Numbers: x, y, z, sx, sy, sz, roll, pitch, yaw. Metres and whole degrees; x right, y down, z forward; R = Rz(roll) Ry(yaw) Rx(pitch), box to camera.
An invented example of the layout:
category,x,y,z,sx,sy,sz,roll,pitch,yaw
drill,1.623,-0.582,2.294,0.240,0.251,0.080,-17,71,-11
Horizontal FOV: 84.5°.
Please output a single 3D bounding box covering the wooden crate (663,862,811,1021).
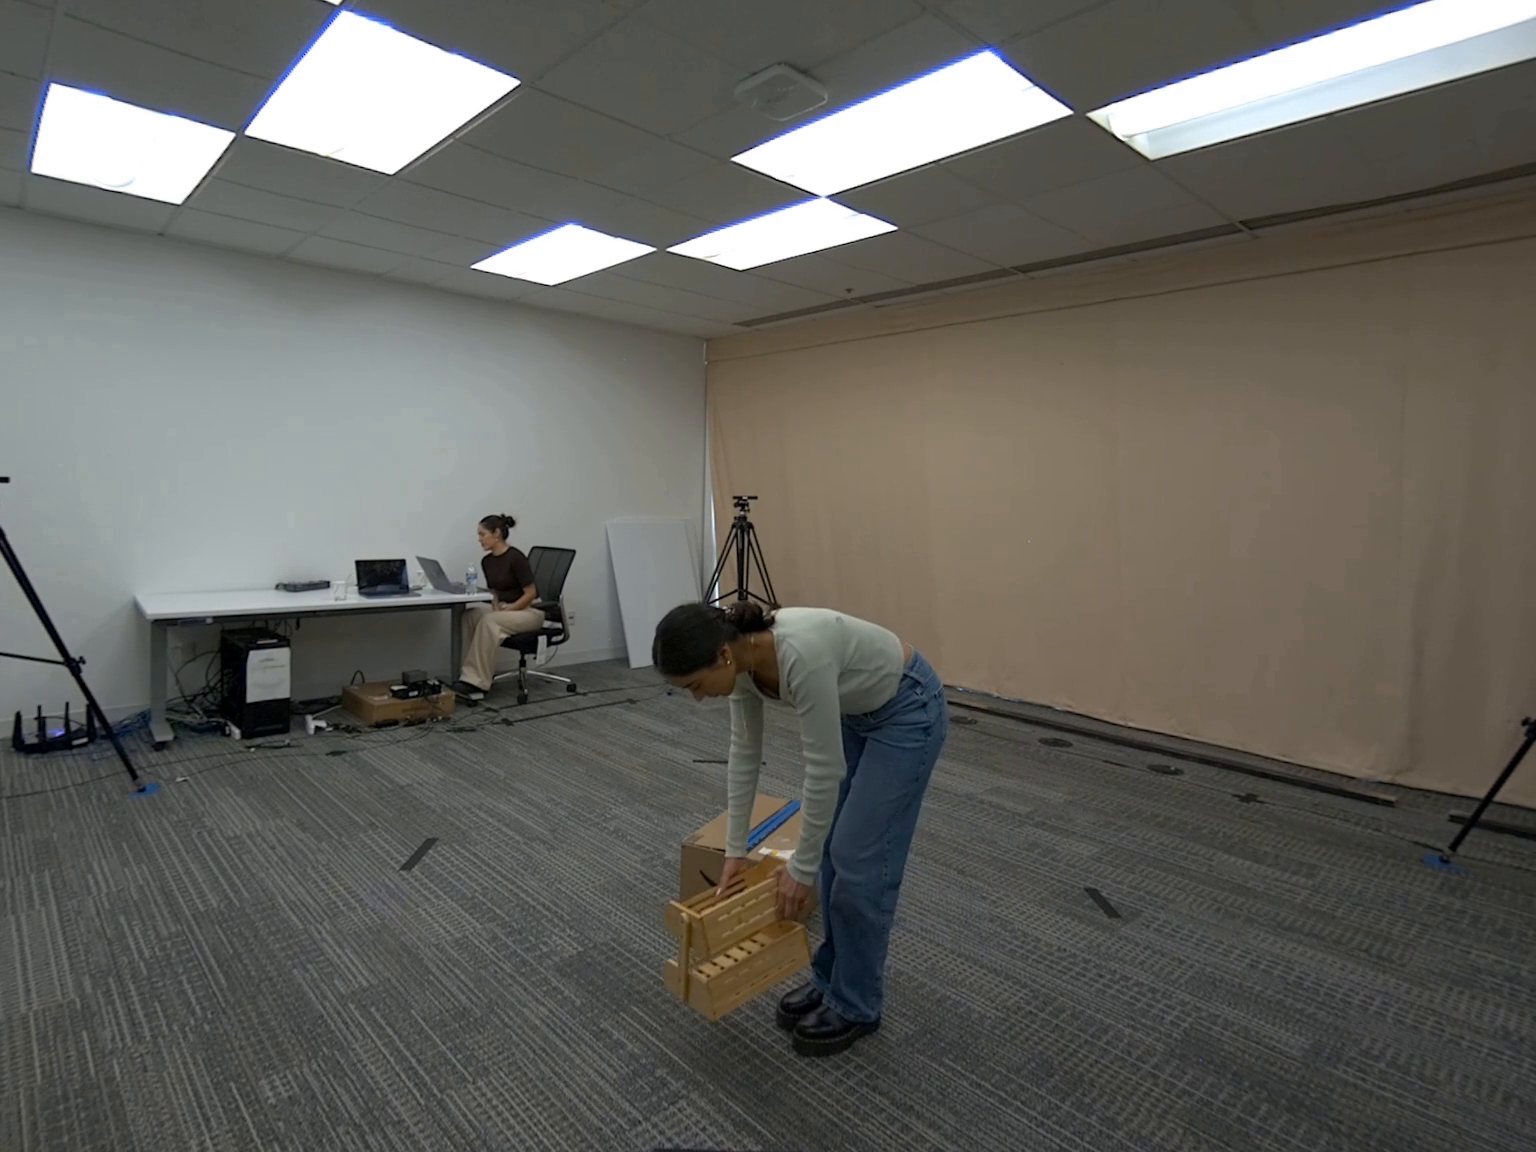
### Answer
category,x,y,z,sx,sy,sz,roll,pitch,yaw
wooden crate,-0.093,0.867,2.101,0.319,0.273,0.307,-15,2,-33
